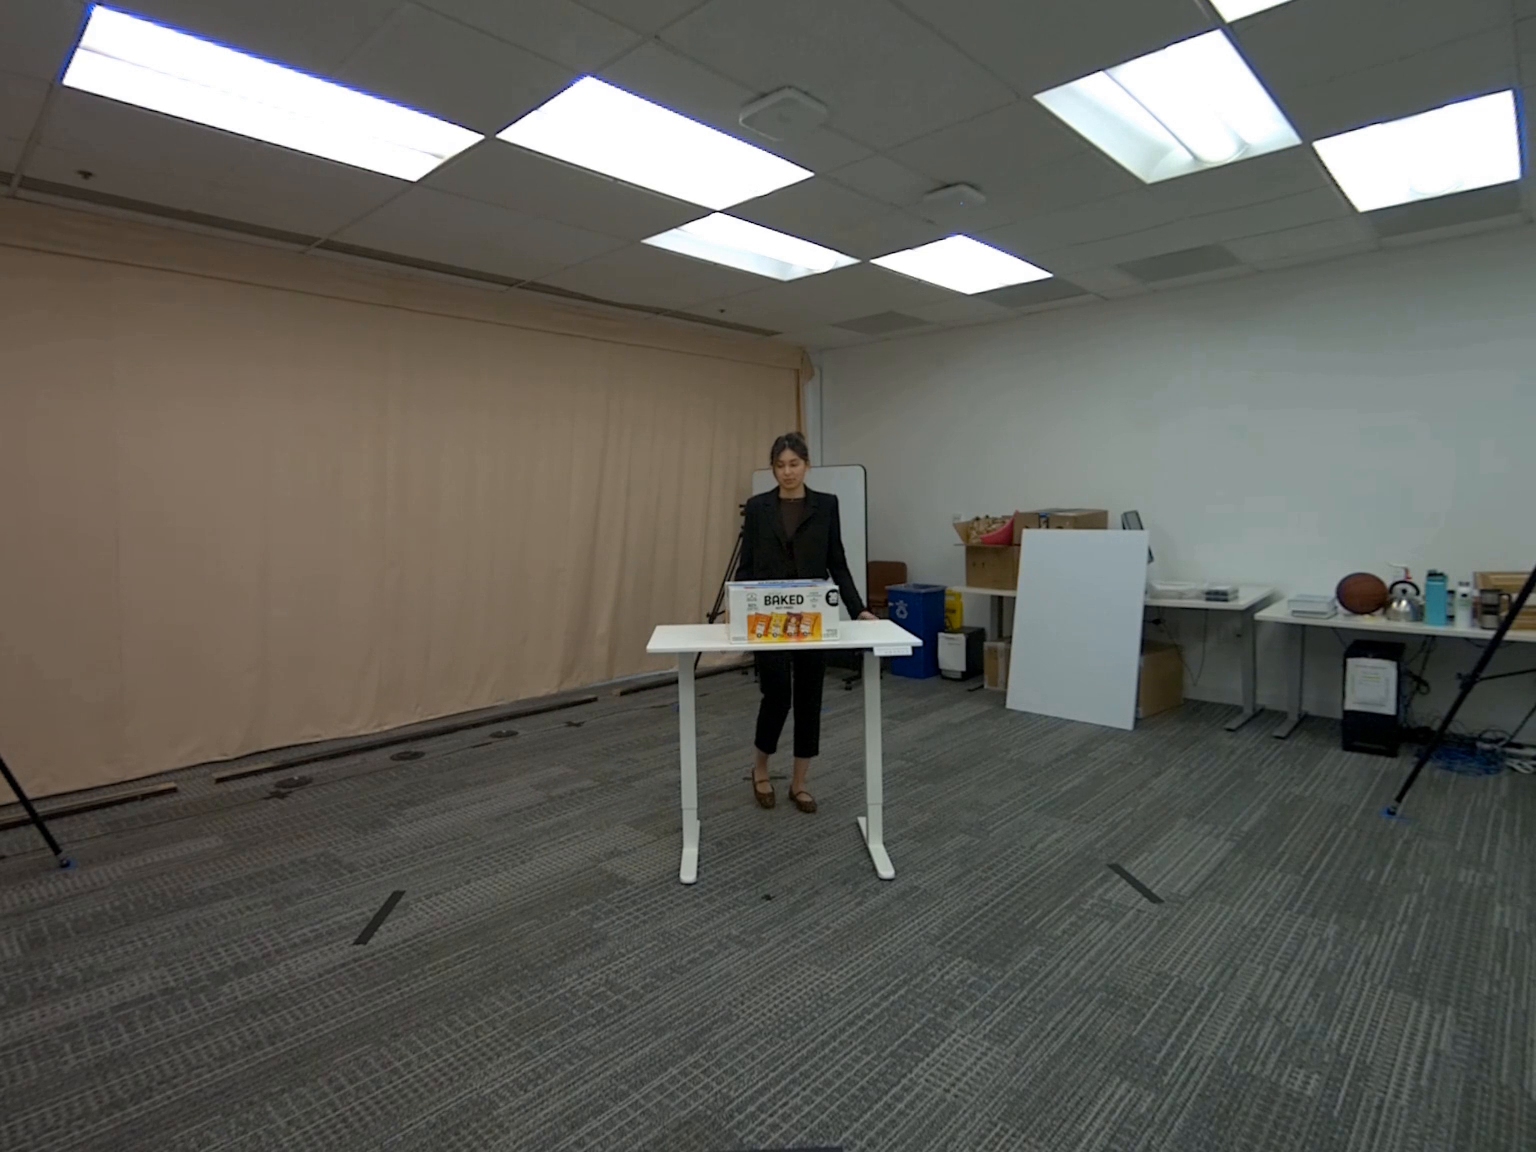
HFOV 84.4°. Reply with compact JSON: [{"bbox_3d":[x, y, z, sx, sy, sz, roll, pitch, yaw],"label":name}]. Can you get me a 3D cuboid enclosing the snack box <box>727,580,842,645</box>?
[{"bbox_3d":[0.042,0.132,3.265,0.404,0.205,0.342,-2,4,-4],"label":"snack box"}]
